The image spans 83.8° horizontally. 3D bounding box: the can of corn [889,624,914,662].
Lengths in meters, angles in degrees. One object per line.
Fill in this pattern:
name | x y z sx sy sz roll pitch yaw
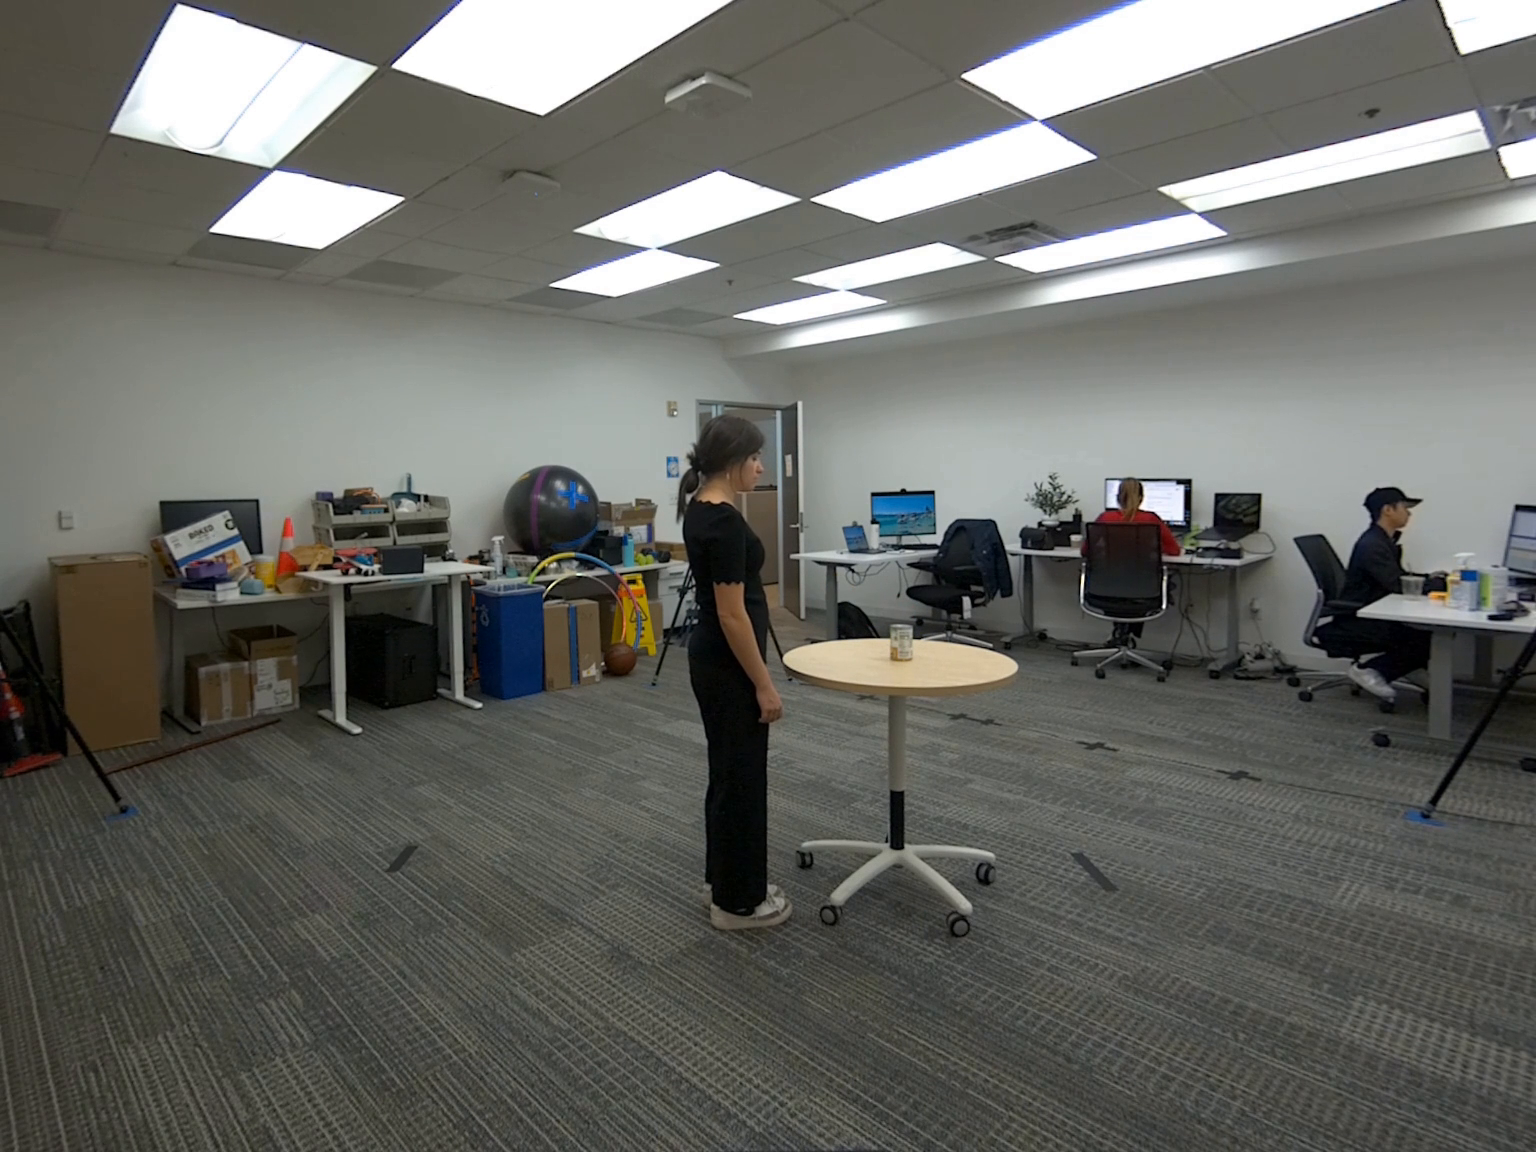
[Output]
can of corn | 0.453 0.226 2.864 0.074 0.110 0.075 0 7 -2
